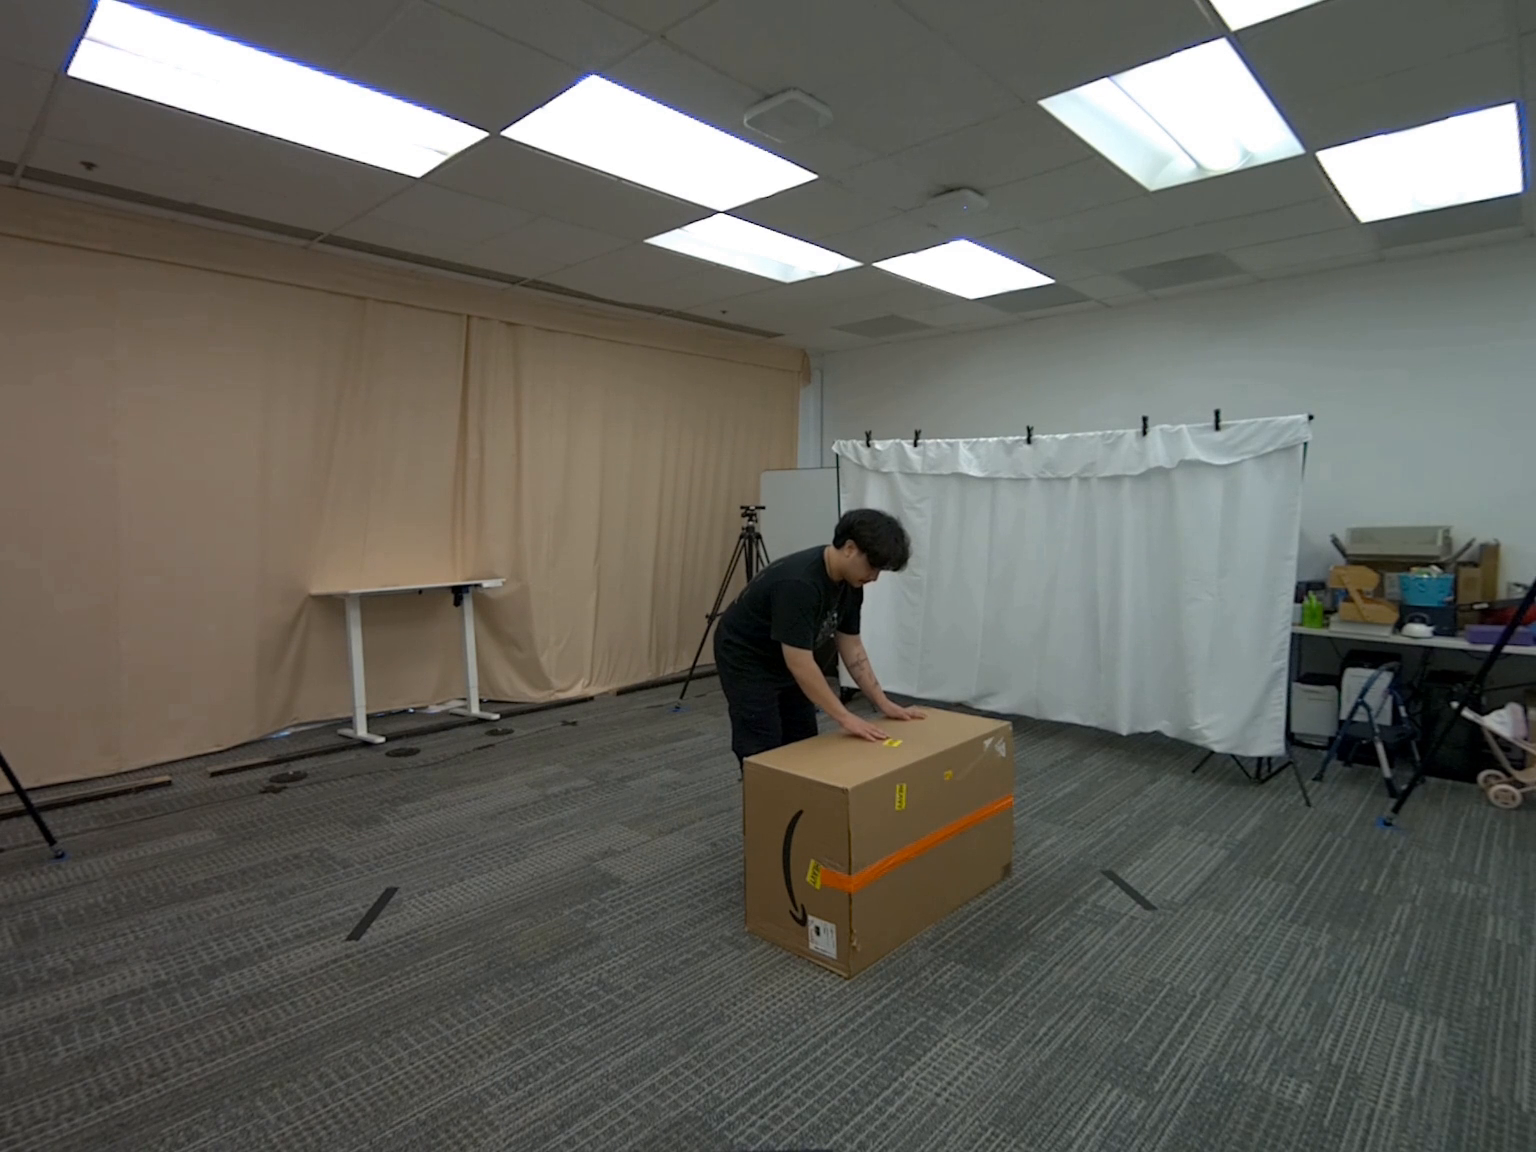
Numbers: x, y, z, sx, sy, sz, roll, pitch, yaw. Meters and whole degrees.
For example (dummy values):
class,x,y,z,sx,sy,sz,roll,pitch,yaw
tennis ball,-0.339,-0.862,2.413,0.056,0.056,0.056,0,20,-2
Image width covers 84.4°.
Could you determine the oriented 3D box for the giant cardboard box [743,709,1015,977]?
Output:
class,x,y,z,sx,sy,sz,roll,pitch,yaw
giant cardboard box,0.429,0.862,2.952,0.462,0.582,0.996,5,7,43
